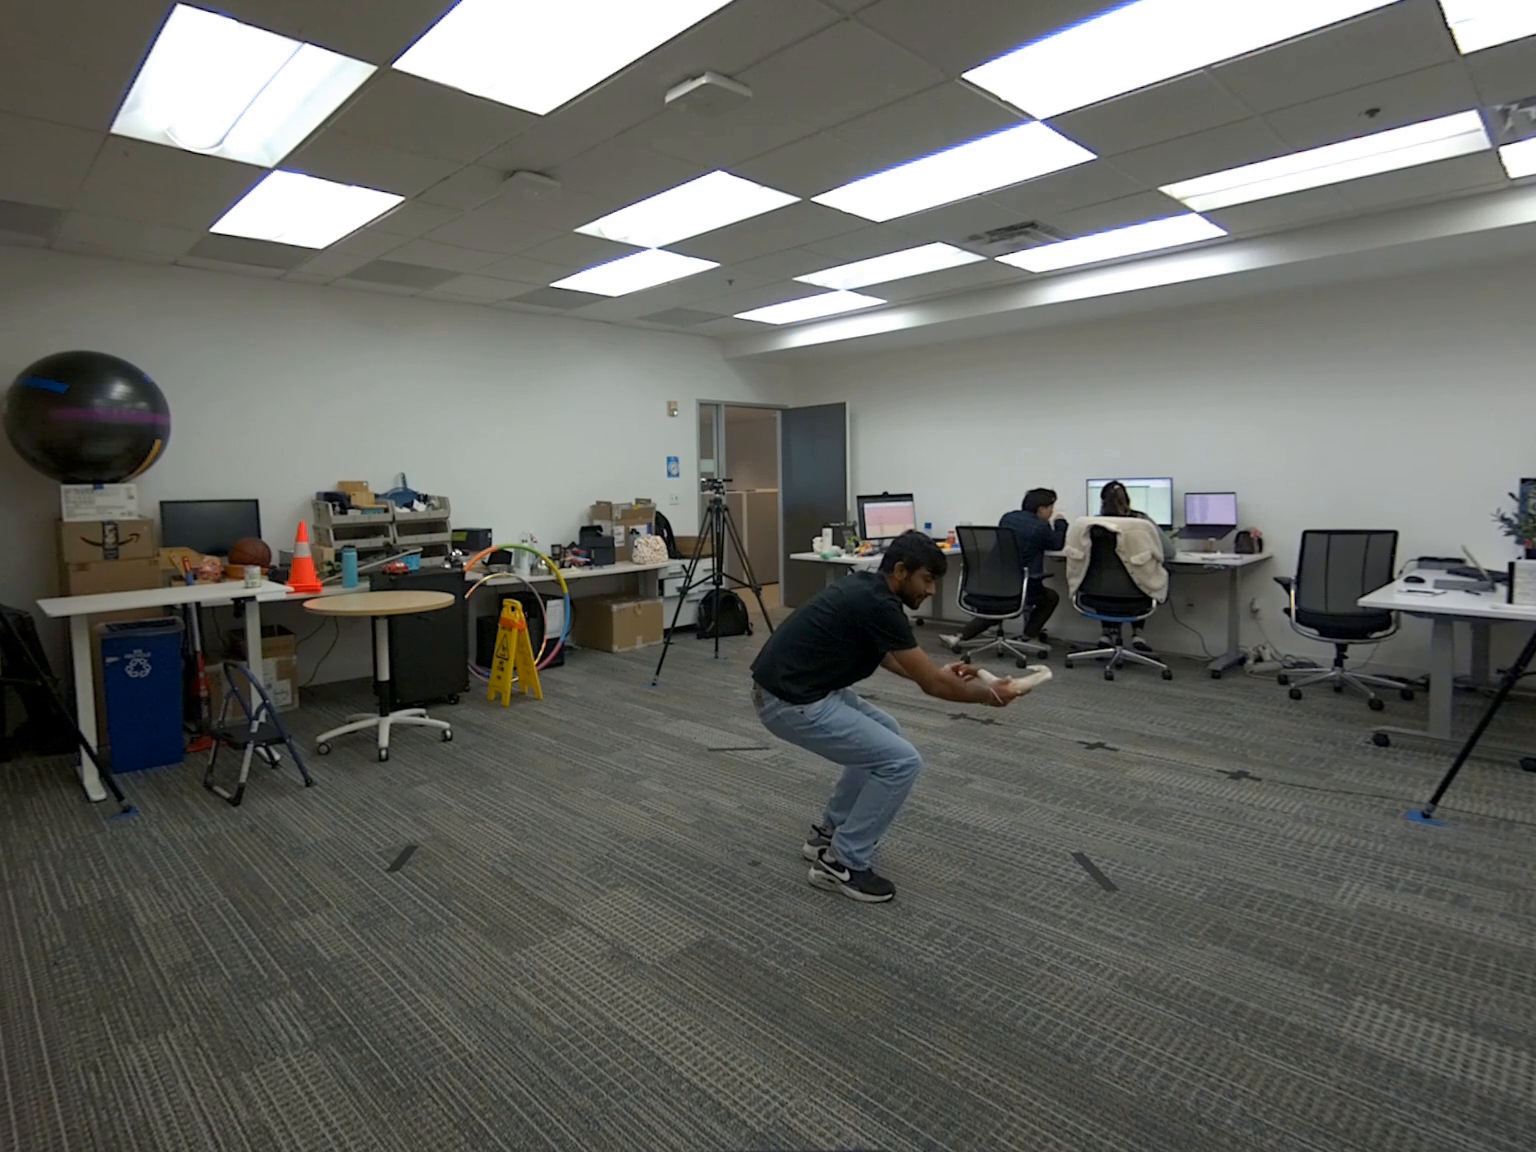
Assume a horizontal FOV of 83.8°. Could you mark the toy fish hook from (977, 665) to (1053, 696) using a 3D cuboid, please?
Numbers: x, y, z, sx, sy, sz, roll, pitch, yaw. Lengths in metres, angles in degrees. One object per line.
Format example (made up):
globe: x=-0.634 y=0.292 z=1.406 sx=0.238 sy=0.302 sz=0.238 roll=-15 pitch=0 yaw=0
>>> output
toy fish hook: x=0.868 y=0.367 z=3.229 sx=0.222 sy=0.048 sz=0.514 roll=-13 pitch=7 yaw=-13
